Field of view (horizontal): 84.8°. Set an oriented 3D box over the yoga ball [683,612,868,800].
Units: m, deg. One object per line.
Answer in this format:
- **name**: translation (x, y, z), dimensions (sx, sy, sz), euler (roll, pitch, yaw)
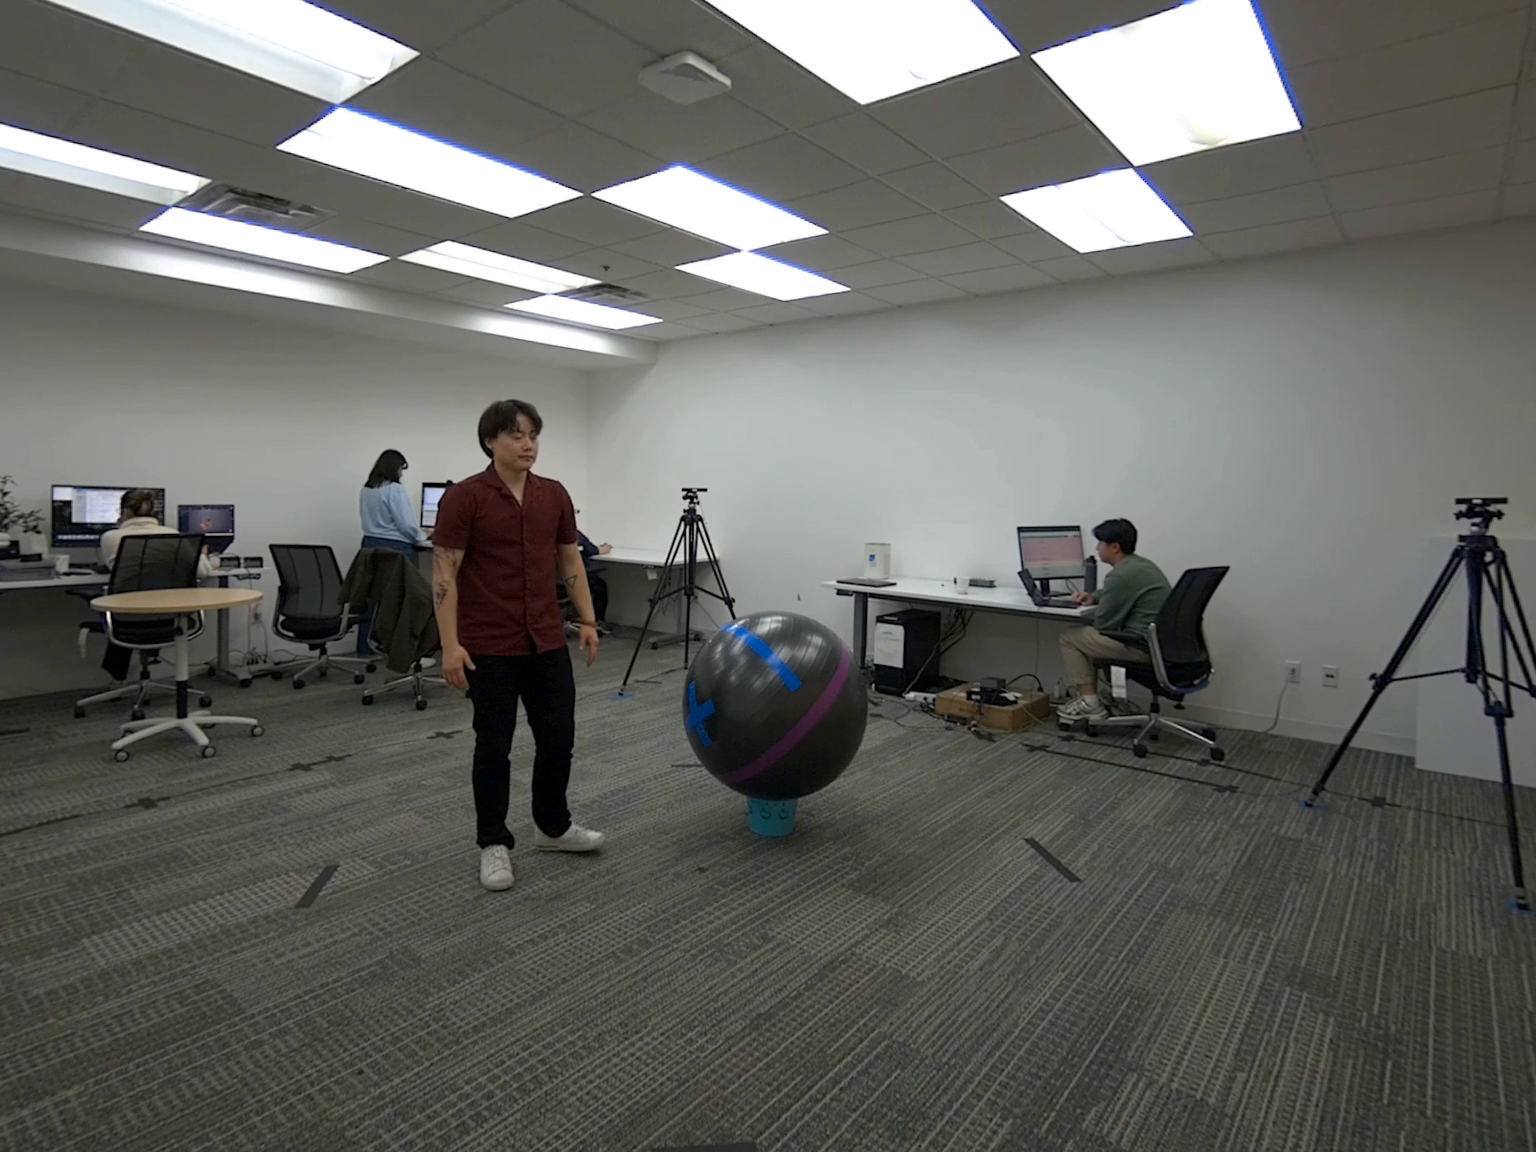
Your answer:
- **yoga ball**: translation (0.029, 0.526, 3.498), dimensions (0.757, 0.755, 0.762), euler (1, 4, -2)
